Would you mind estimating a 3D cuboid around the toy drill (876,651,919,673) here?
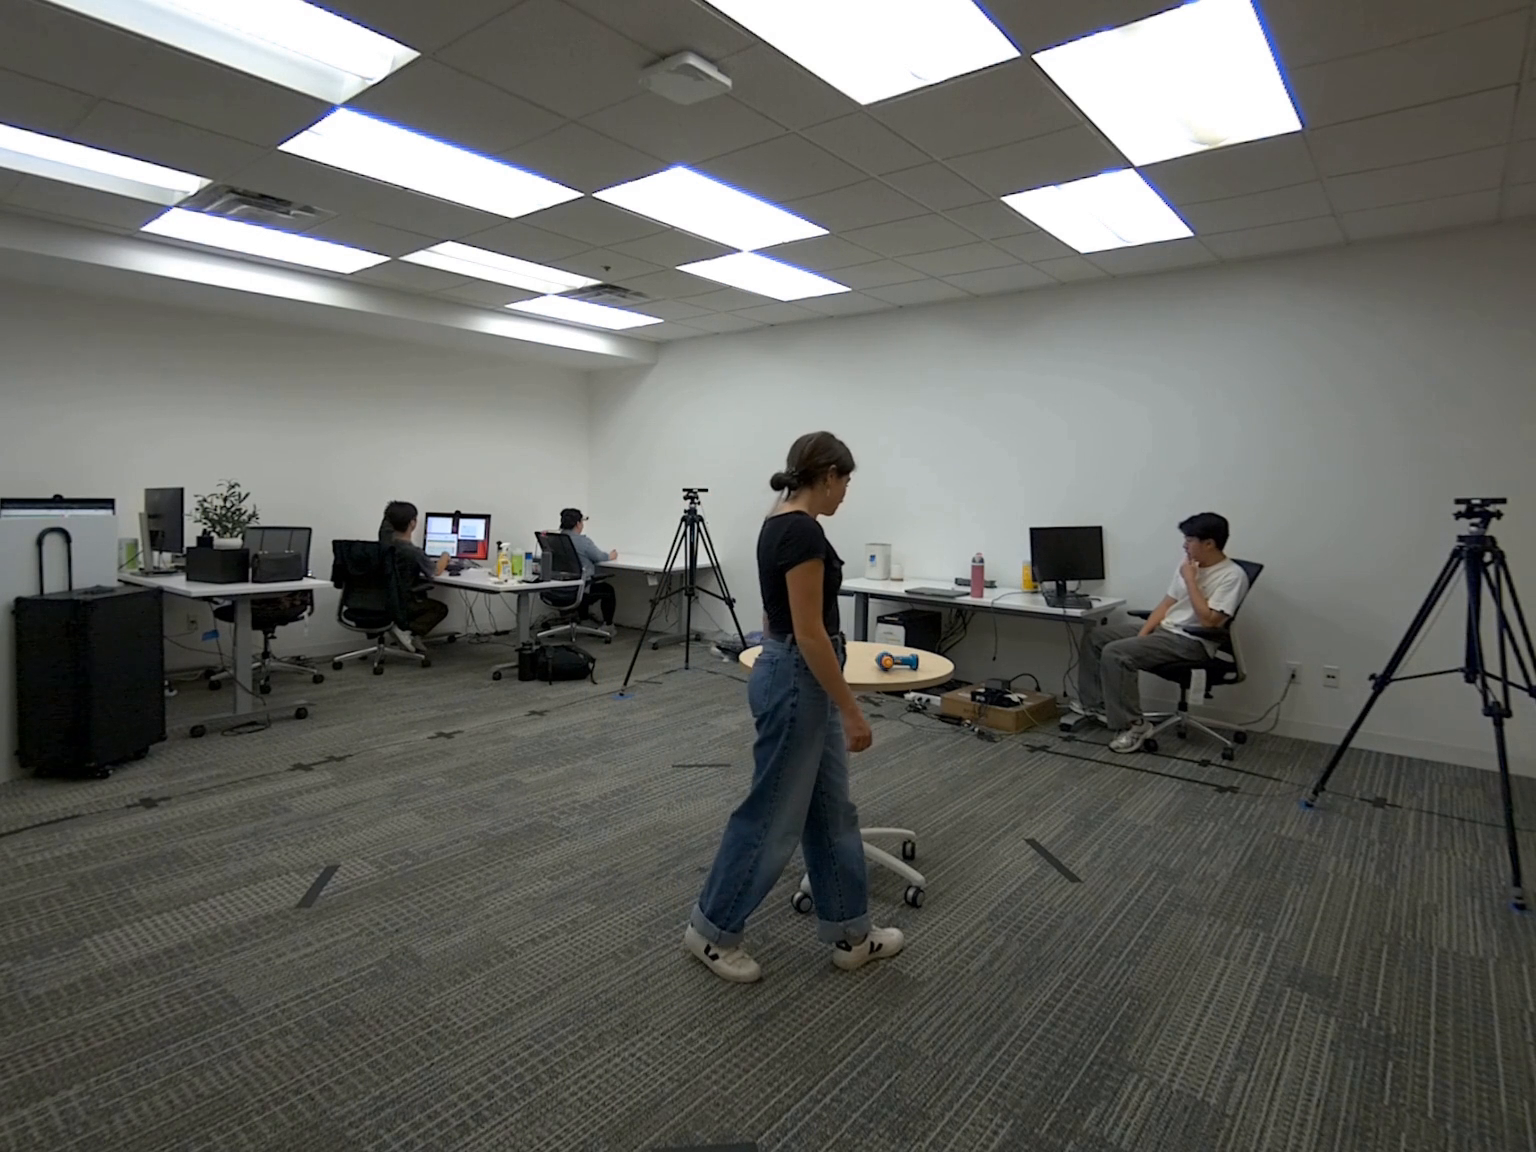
[{"bbox_3d":[0.451,0.284,2.897,0.146,0.061,0.169,2,-1,1],"label":"toy drill"}]
